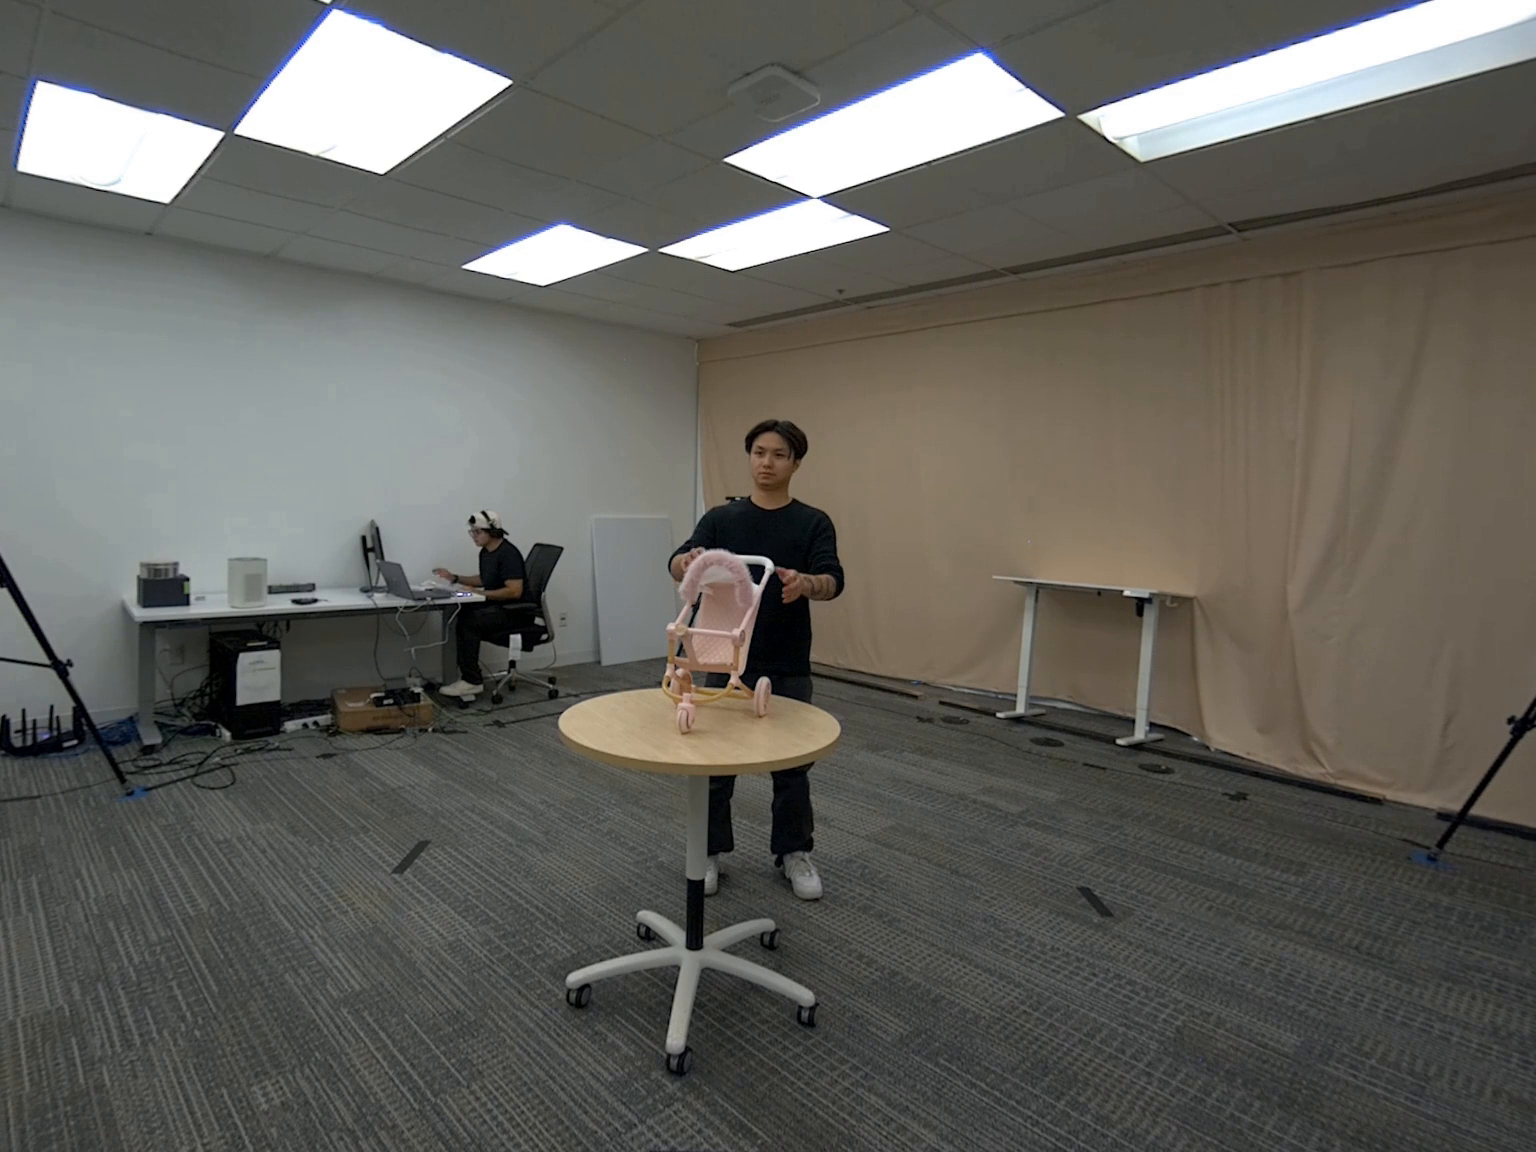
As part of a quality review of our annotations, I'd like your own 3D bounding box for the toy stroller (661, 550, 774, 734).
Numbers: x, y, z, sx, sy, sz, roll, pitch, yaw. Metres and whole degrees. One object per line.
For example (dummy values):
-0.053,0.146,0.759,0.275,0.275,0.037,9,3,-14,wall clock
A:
-0.161,0.174,2.332,0.286,0.538,0.333,3,-10,23,toy stroller
